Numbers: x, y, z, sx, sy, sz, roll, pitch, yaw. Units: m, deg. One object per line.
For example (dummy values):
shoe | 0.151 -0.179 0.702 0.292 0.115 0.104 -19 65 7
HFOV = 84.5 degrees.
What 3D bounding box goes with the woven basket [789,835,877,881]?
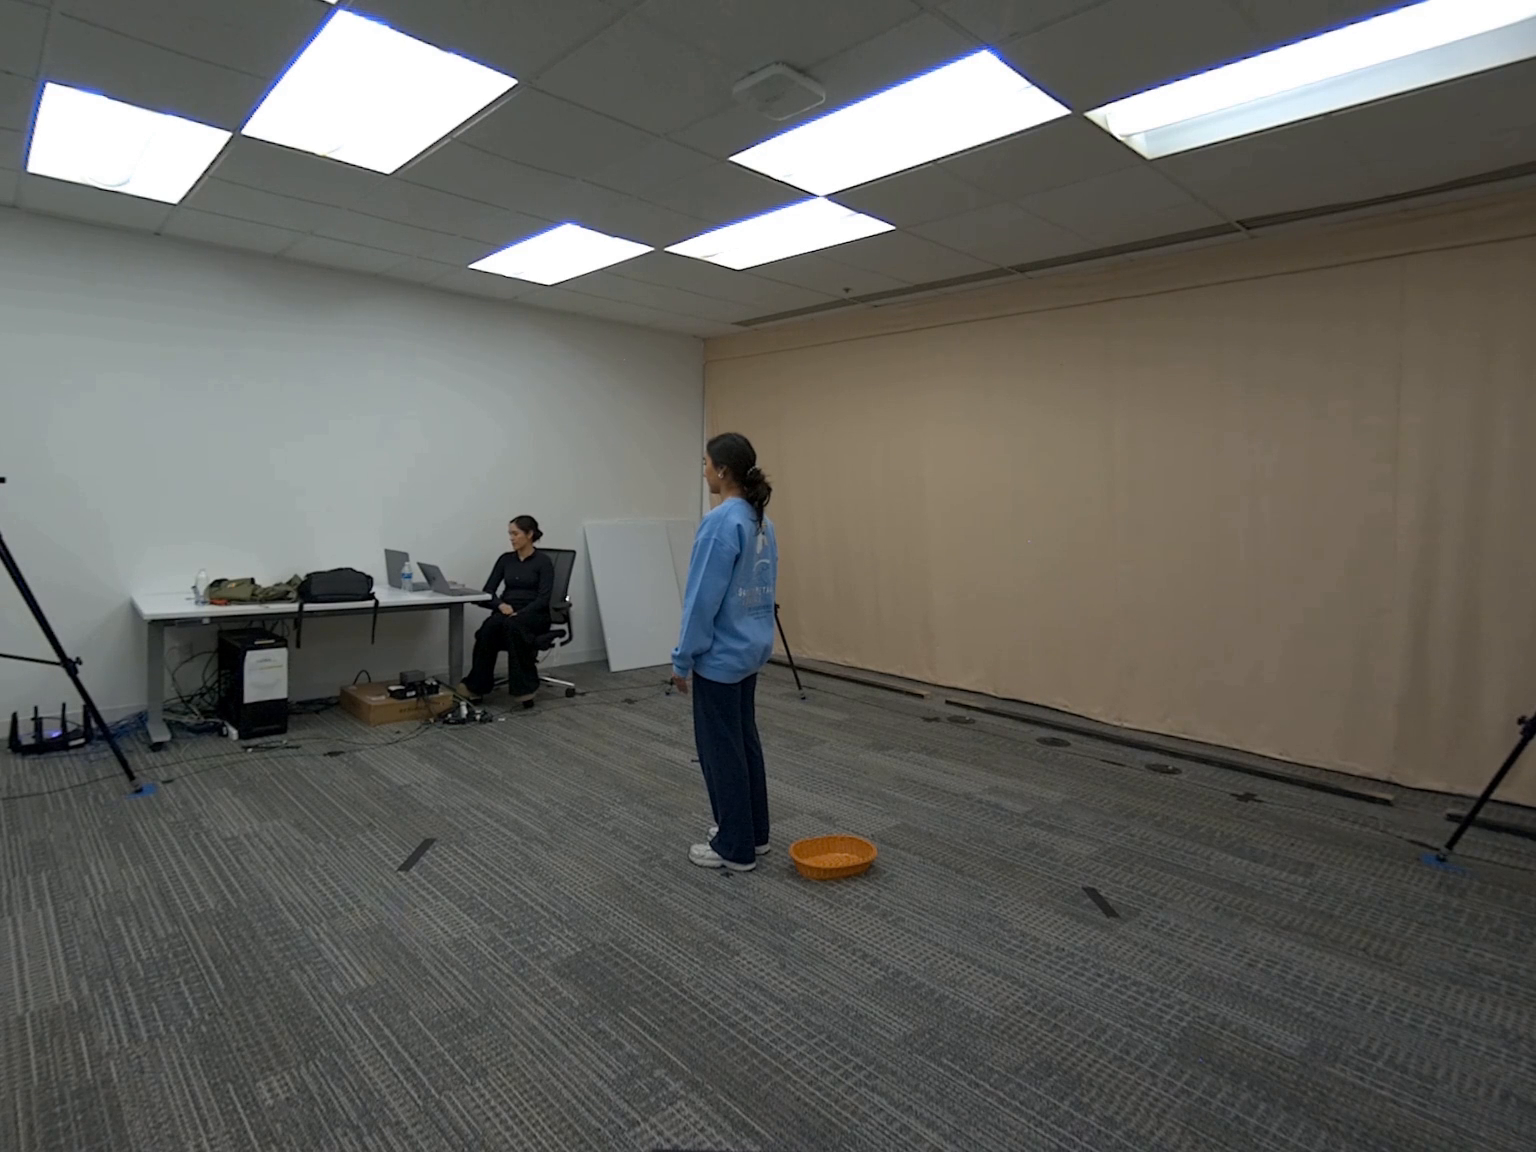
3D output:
woven basket | 0.233 1.067 3.179 0.344 0.073 0.258 0 6 -24
